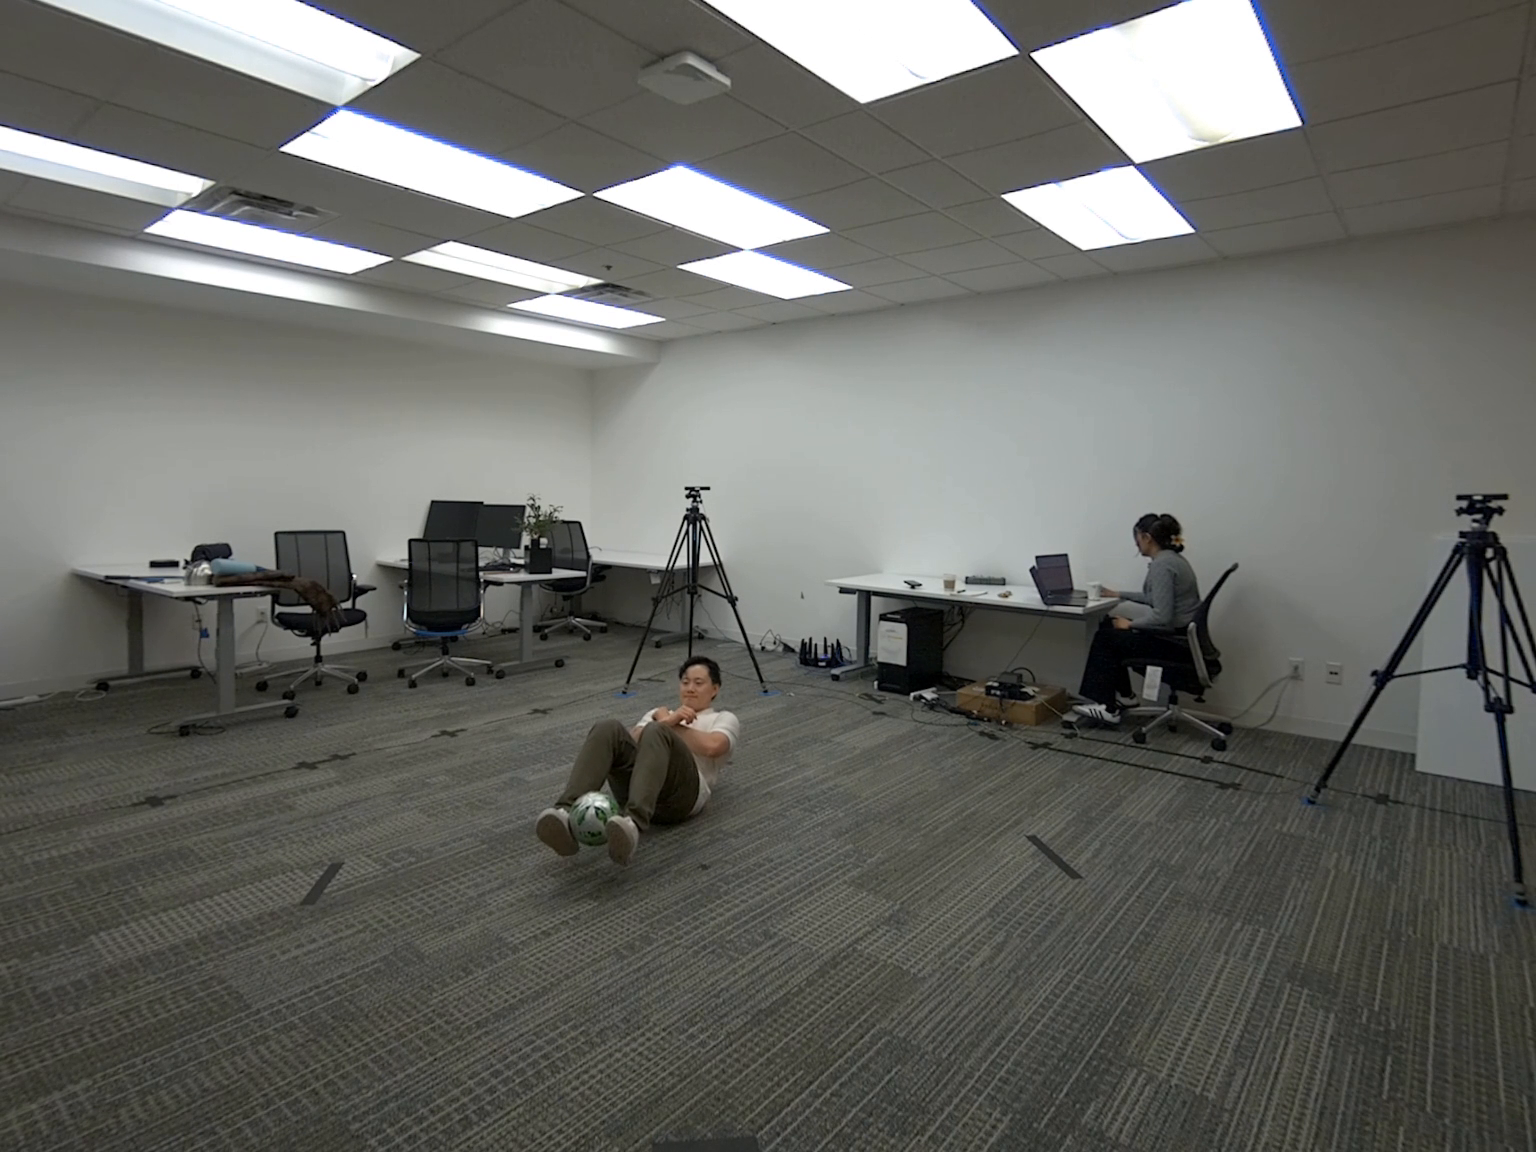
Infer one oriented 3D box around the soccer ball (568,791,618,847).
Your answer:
[{"bbox_3d":[-0.638,0.856,3.034,0.187,0.187,0.188,1,4,-2],"label":"soccer ball"}]
